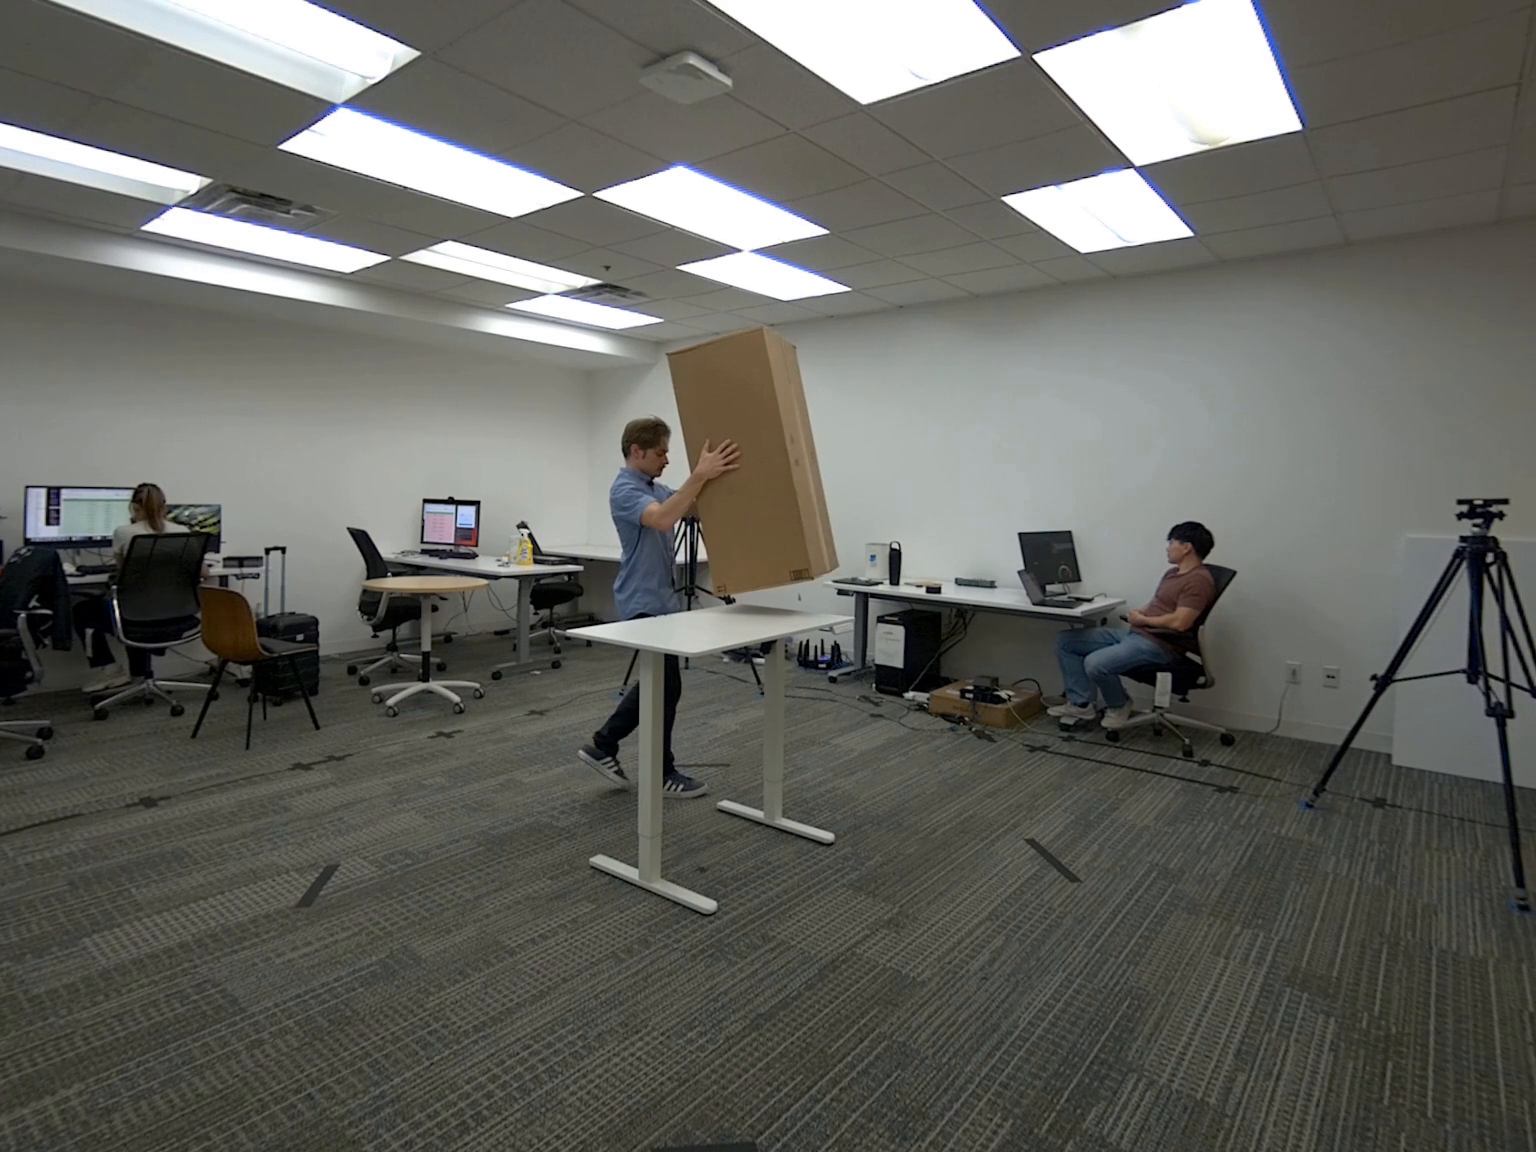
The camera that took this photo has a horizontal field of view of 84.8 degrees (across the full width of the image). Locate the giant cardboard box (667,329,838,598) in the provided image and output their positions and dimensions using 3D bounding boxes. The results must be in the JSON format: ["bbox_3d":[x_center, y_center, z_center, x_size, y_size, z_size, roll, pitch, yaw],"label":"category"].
[{"bbox_3d":[-0.061,-0.478,3.665,0.433,1.026,0.569,-11,1,17],"label":"giant cardboard box"}]
